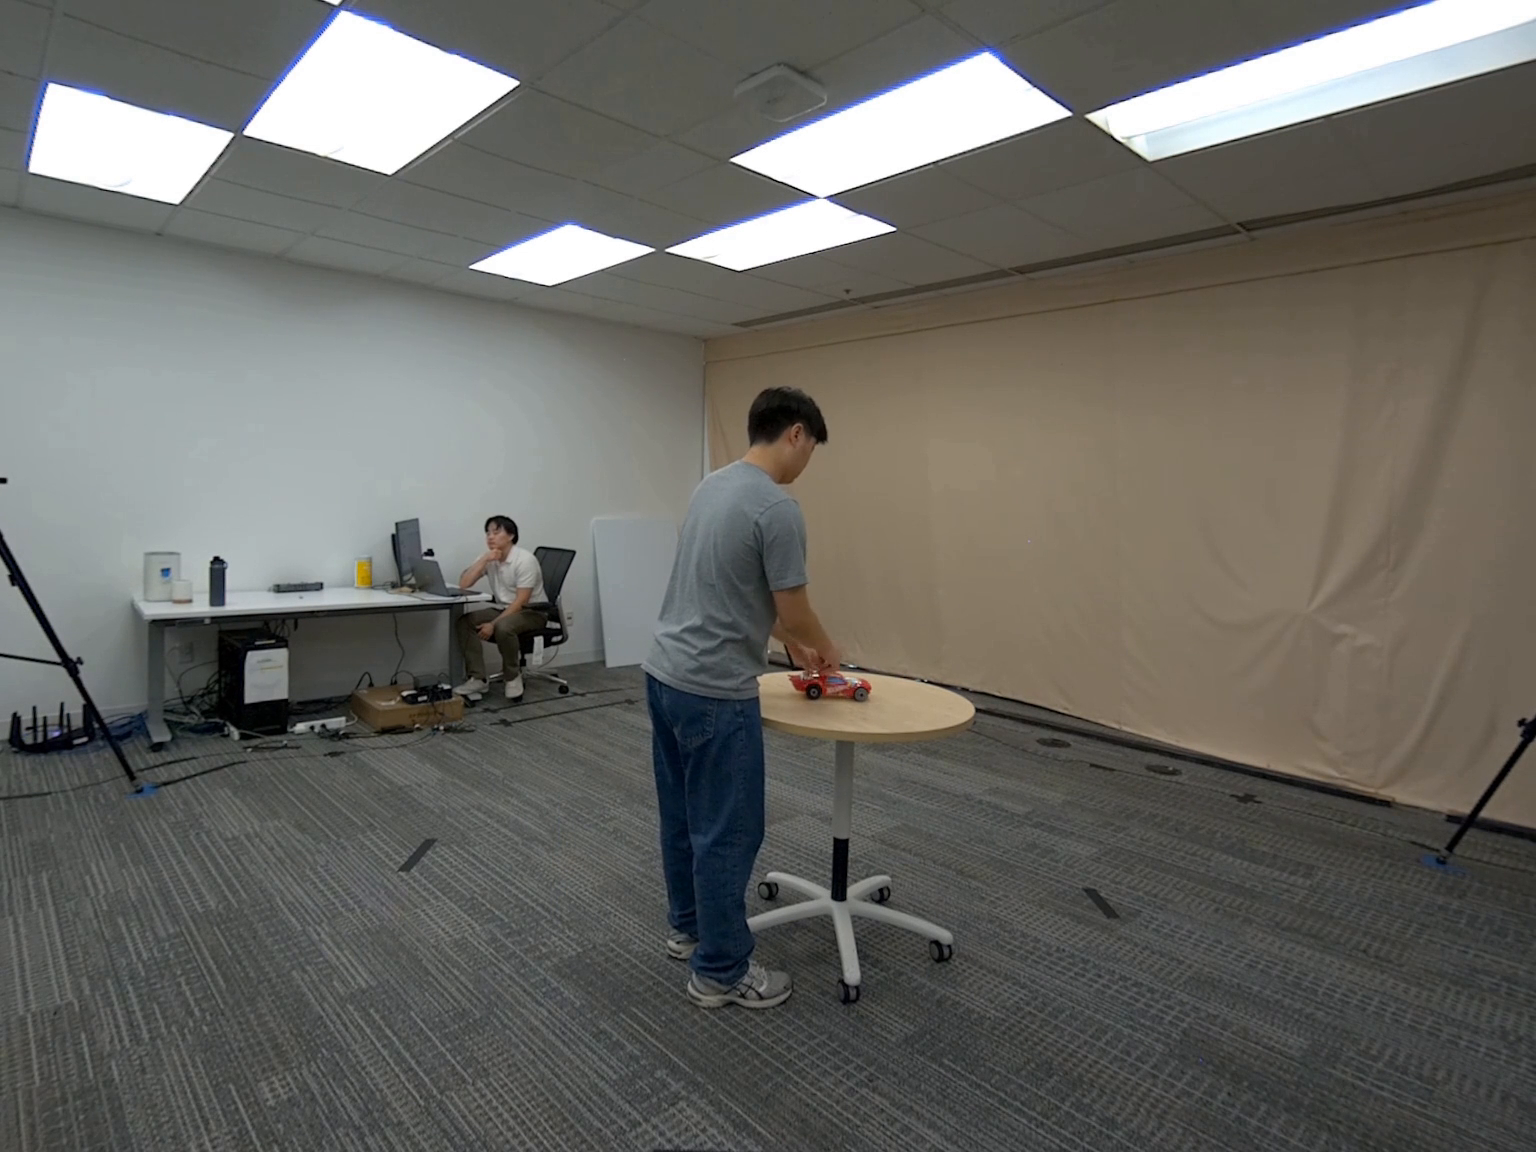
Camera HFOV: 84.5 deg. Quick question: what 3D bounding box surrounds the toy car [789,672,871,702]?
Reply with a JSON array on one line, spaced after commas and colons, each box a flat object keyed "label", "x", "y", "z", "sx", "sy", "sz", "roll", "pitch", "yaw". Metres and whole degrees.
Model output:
[{"label": "toy car", "x": 0.186, "y": 0.346, "z": 2.605, "sx": 0.254, "sy": 0.083, "sz": 0.131, "roll": 13, "pitch": 4, "yaw": -2}]
